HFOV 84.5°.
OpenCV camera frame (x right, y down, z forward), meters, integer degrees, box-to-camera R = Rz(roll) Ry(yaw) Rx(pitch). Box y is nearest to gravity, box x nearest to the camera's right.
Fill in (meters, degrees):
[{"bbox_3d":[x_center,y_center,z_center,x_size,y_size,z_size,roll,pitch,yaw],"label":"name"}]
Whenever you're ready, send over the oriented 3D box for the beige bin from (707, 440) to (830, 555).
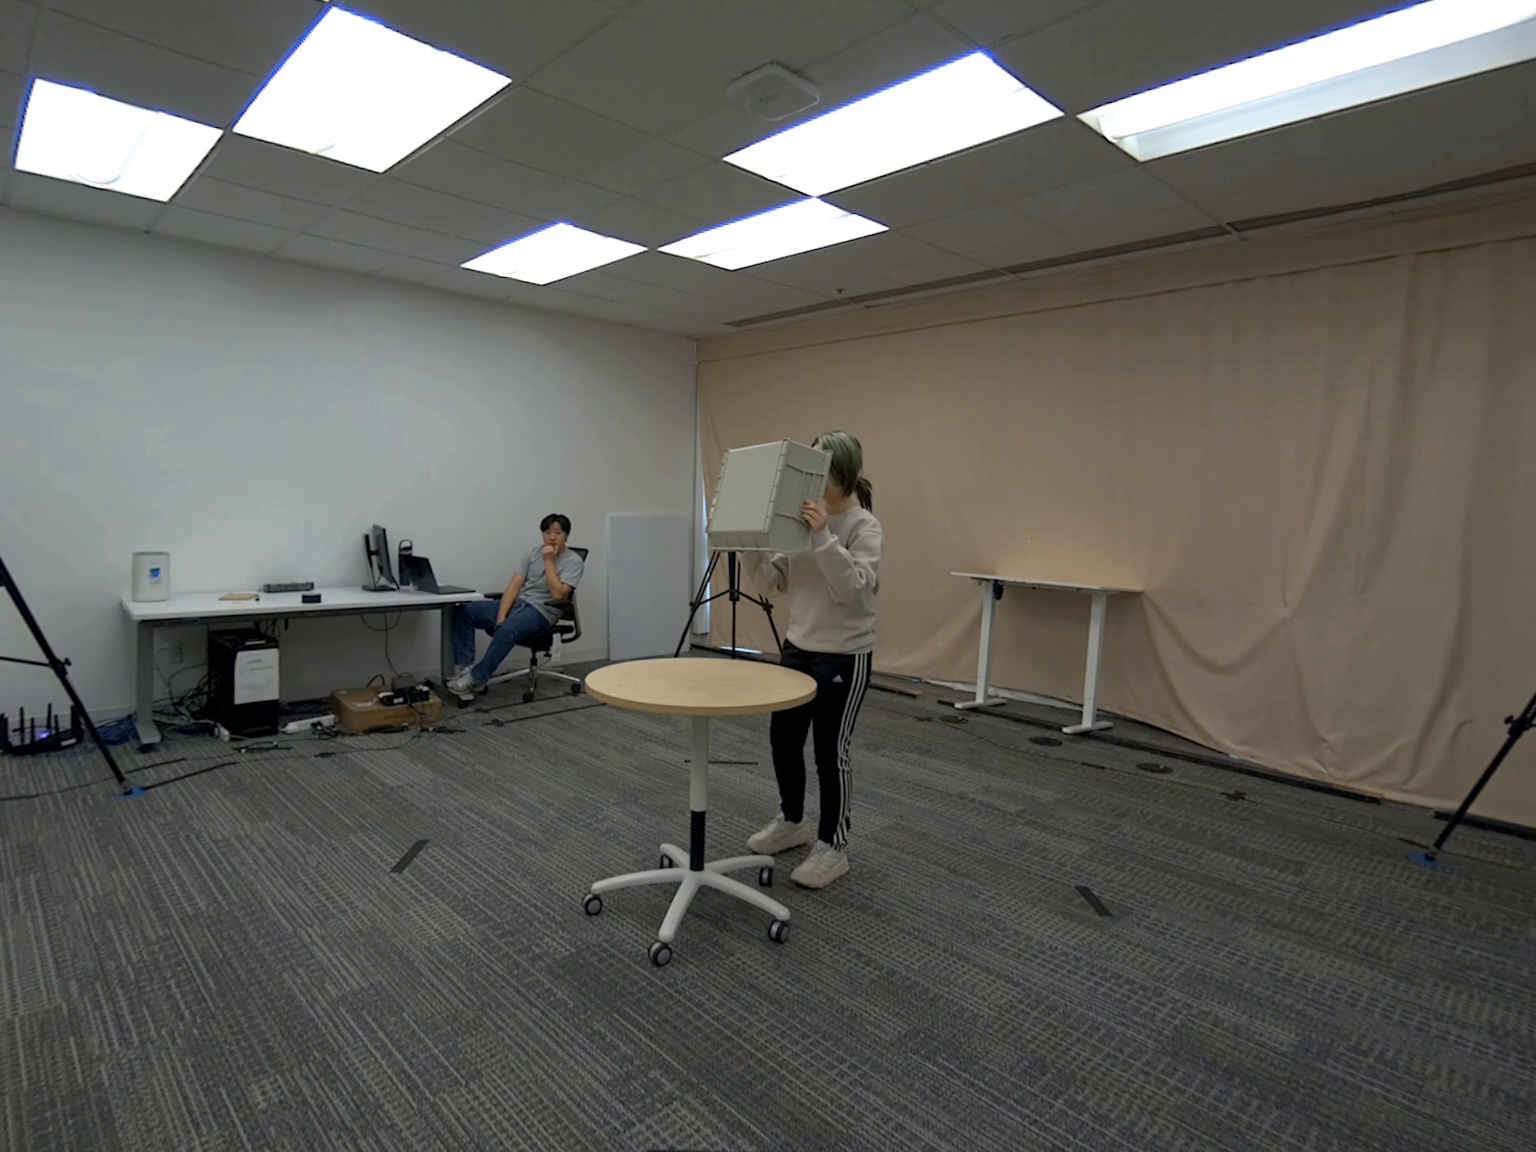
[{"bbox_3d":[-0.021,-0.258,2.896,0.184,0.379,0.431,16,-7,-33],"label":"beige bin"}]
